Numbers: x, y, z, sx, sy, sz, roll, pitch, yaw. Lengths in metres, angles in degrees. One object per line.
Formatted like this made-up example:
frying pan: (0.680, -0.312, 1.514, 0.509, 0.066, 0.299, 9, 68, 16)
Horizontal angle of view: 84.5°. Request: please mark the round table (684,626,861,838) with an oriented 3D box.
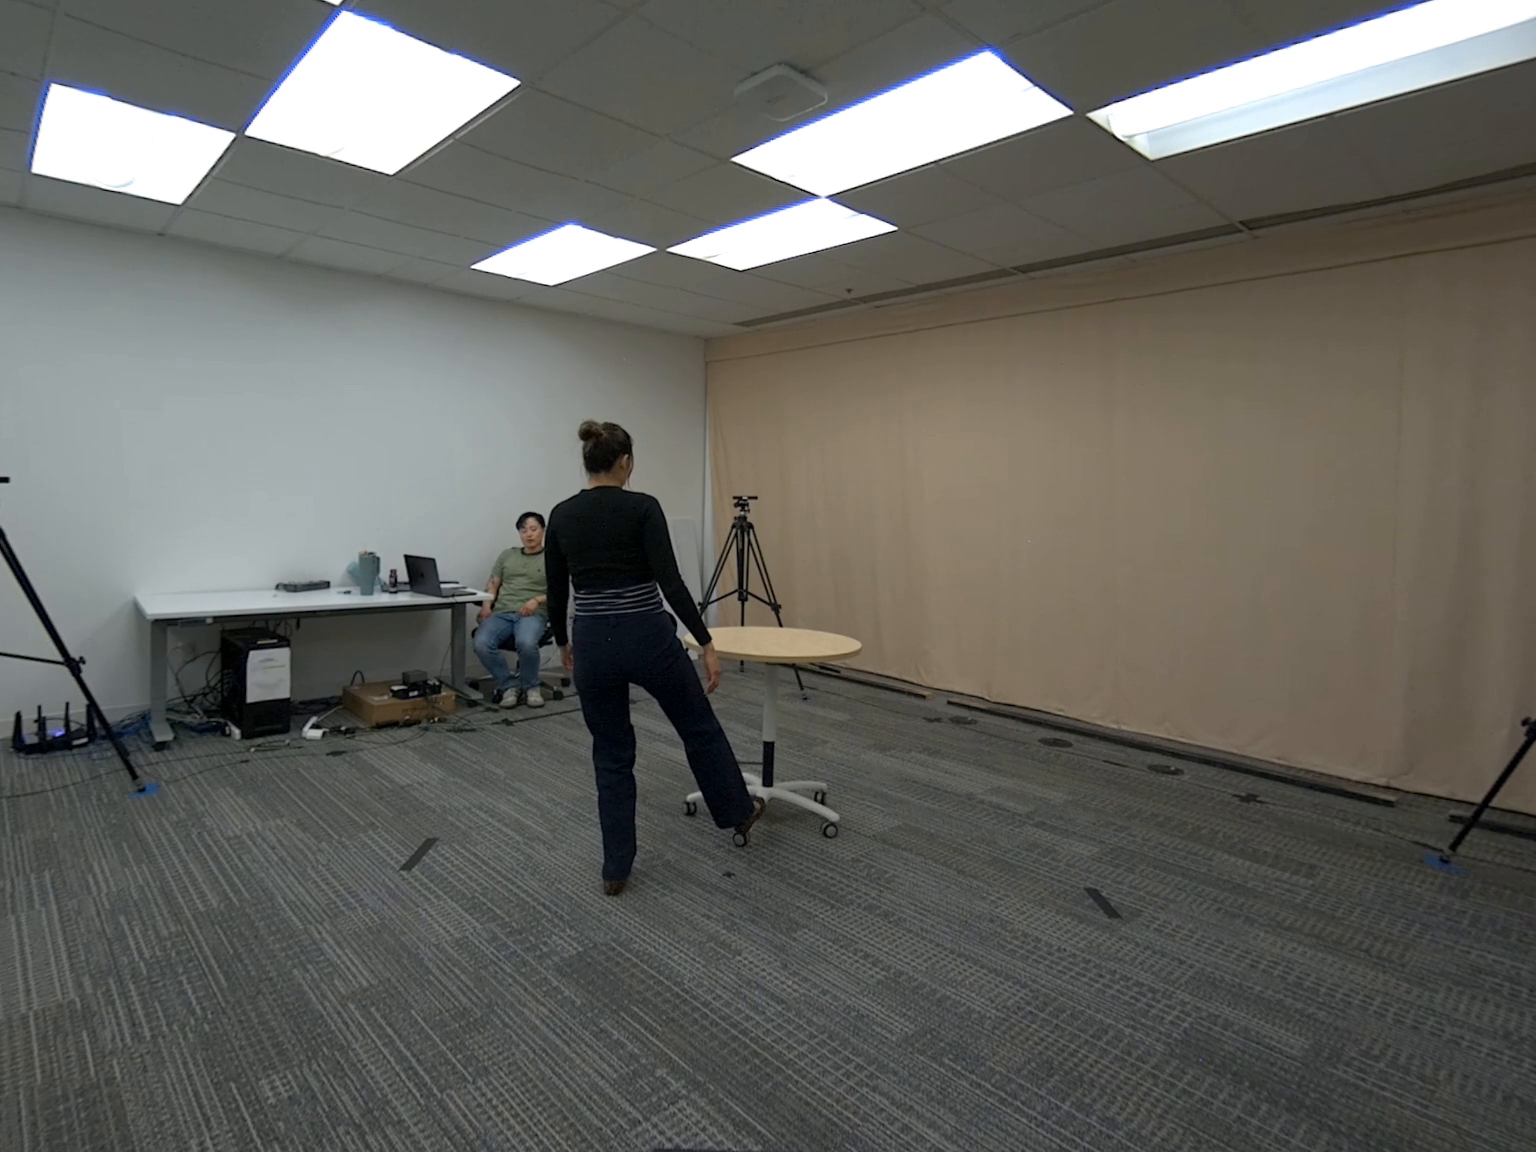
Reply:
round table: (-0.007, 0.671, 3.661, 0.763, 0.792, 0.766, 2, 4, -1)
